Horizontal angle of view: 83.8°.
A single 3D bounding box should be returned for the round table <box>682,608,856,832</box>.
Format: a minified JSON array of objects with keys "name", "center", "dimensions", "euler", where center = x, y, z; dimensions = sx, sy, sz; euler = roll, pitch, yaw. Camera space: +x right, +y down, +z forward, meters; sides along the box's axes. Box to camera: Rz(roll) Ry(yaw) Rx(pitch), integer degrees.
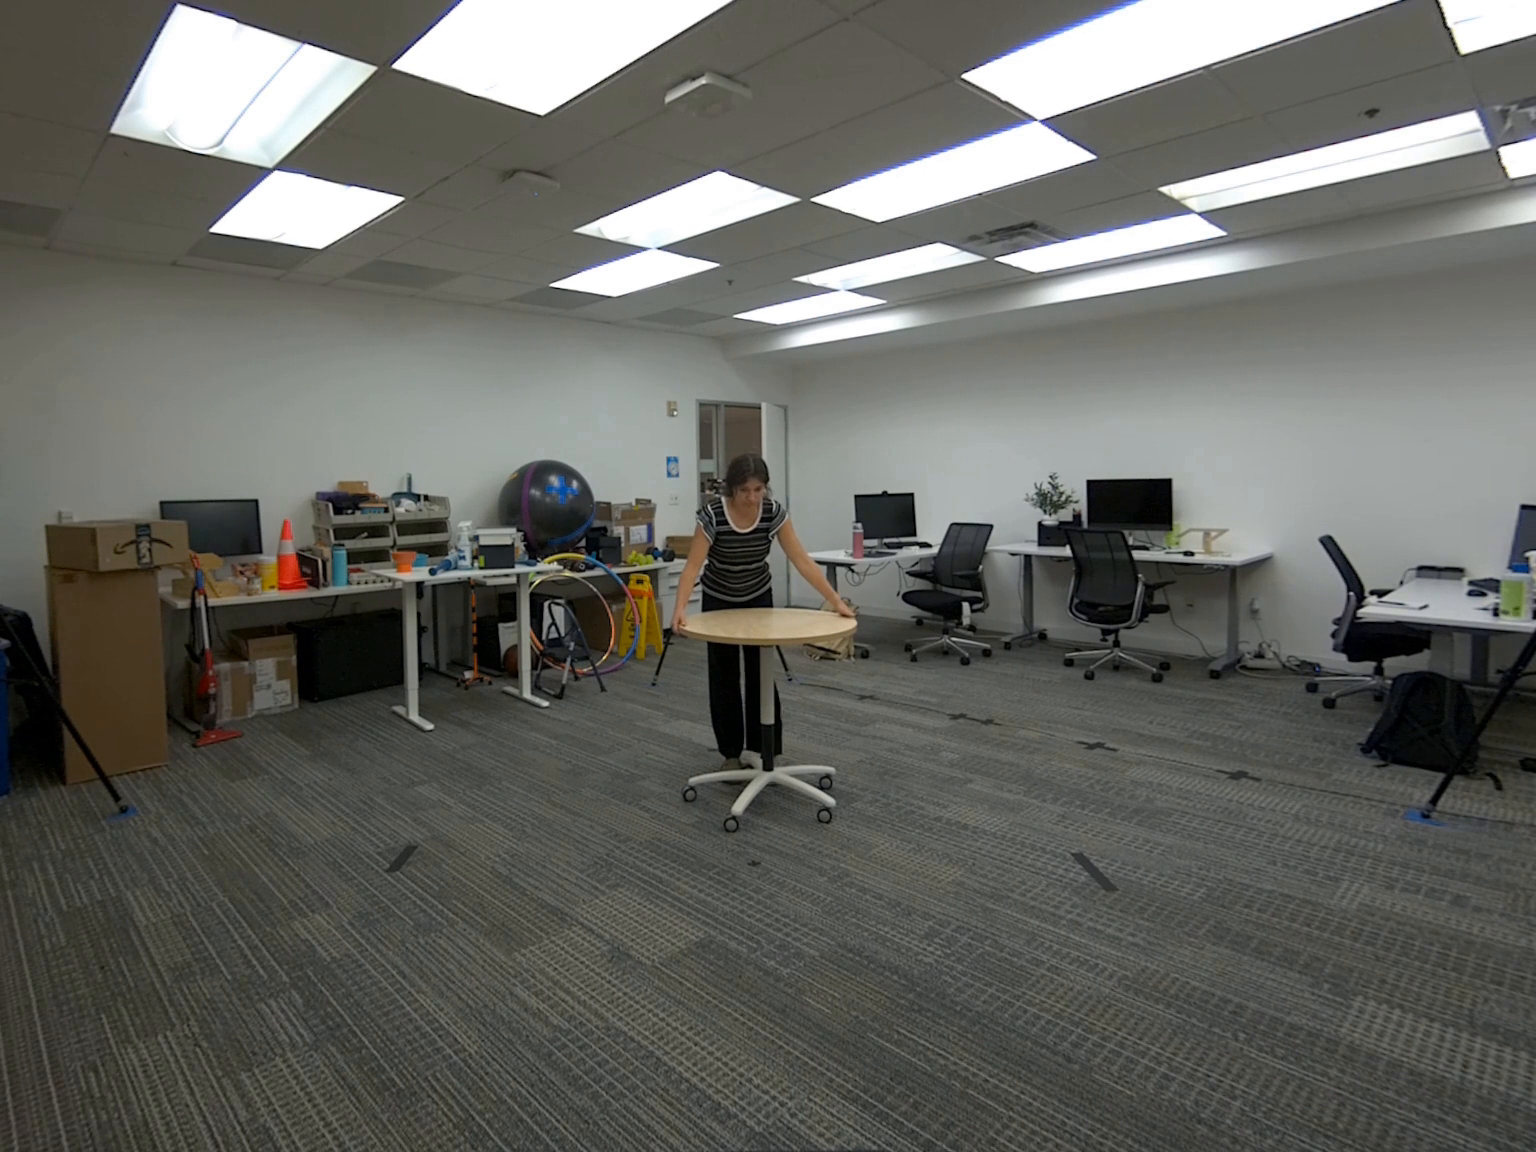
[{"name":"round table","center":[-0.014,0.590,3.669],"dimensions":[0.763,0.791,0.768],"euler":[-1,5,-2]}]
